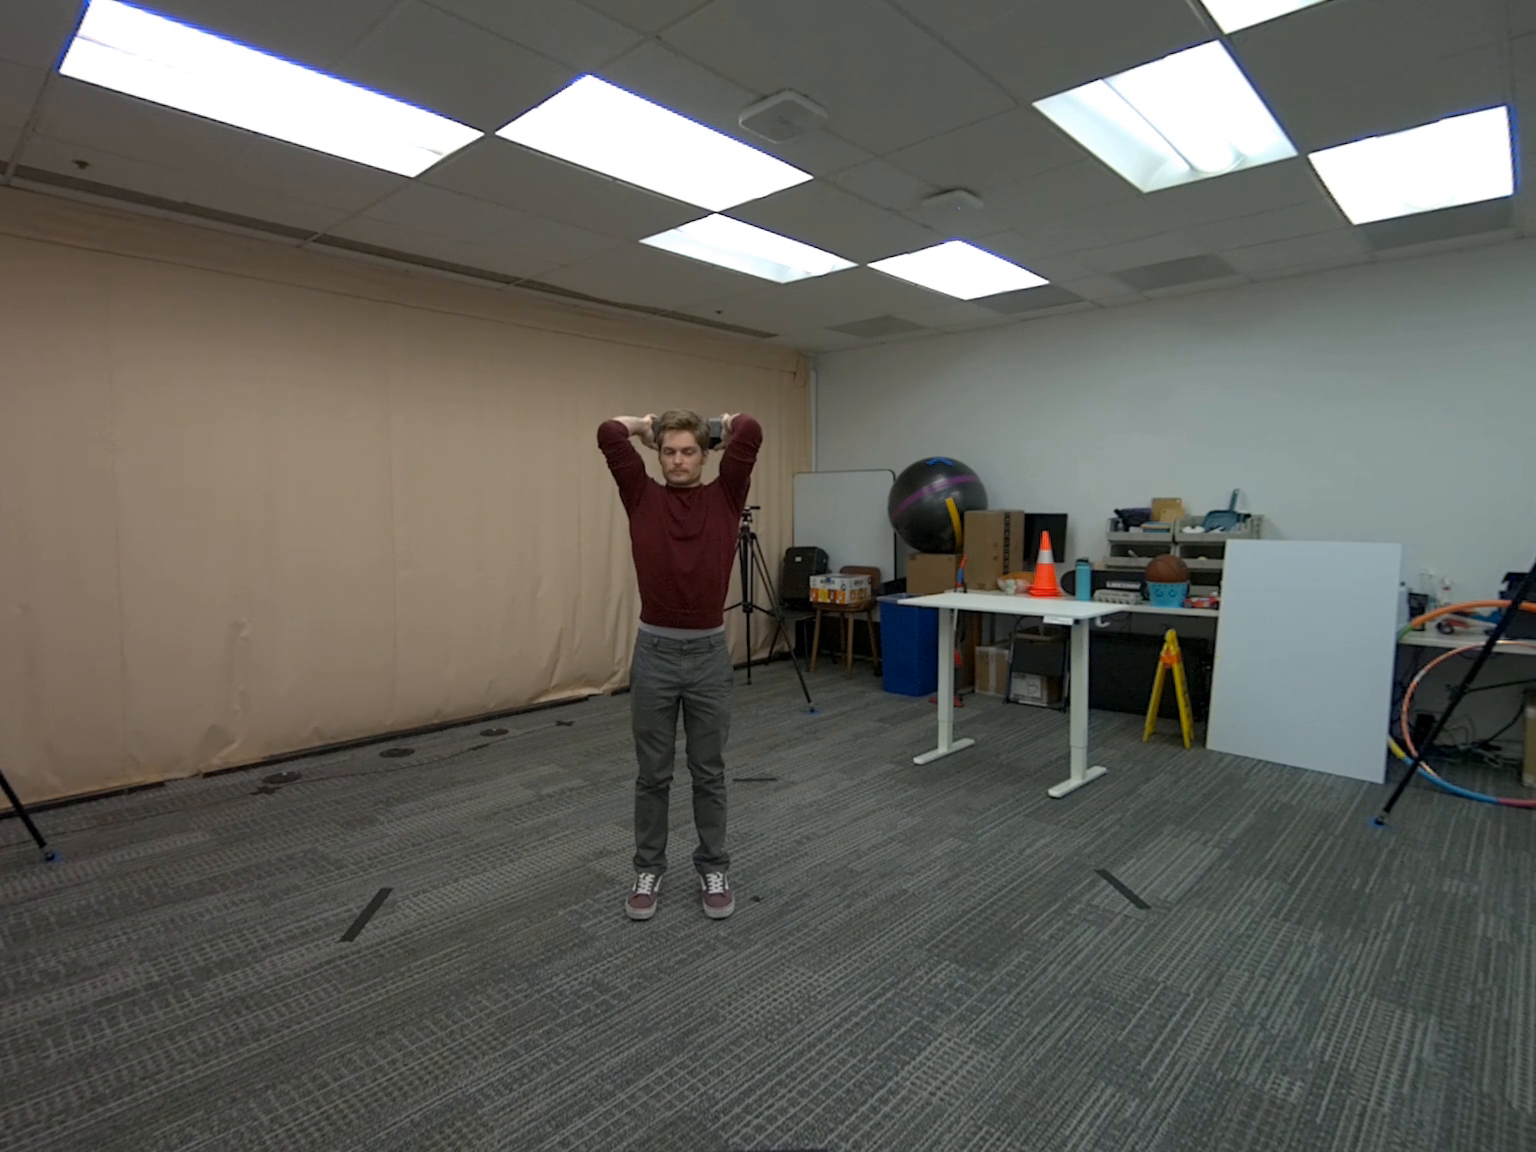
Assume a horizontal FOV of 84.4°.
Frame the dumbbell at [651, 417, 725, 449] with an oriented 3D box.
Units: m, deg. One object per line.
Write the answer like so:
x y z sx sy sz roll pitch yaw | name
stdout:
-0.299 -0.538 3.069 0.298 0.123 0.106 -1 -7 14 | dumbbell
